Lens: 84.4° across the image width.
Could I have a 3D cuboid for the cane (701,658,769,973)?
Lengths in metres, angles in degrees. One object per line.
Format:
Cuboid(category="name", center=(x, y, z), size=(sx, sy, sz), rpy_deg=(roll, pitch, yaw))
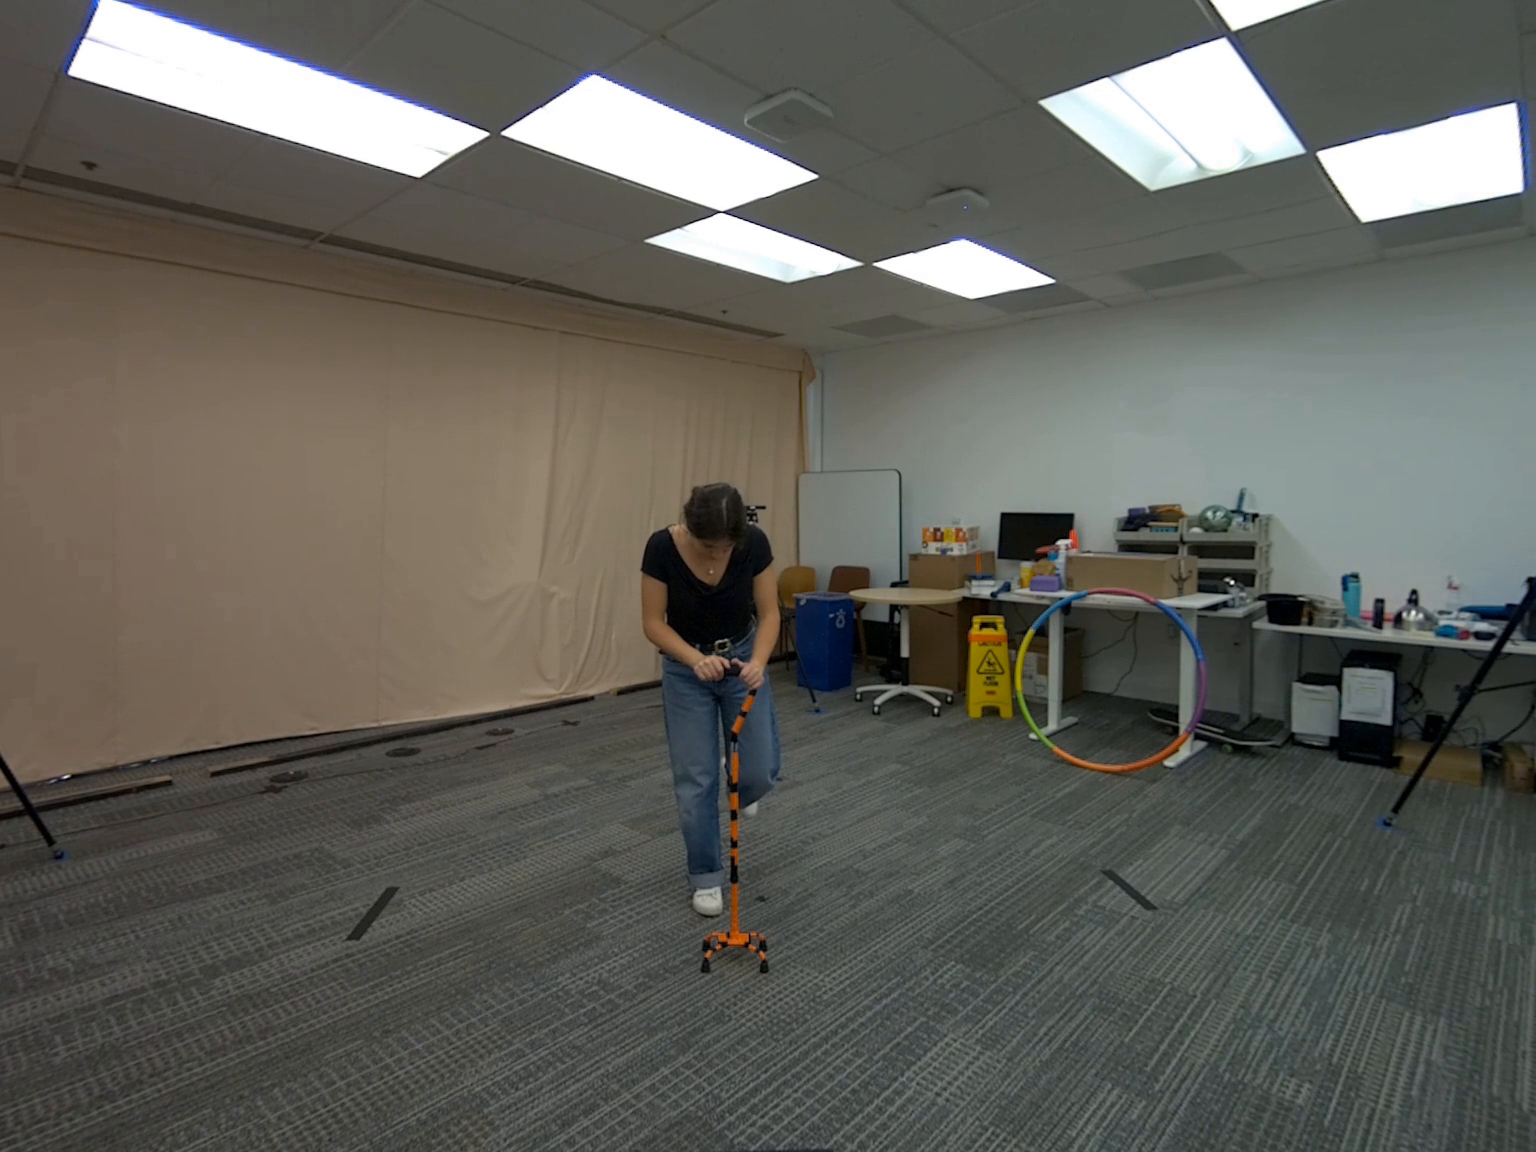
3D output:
Cuboid(category="cane", center=(-0.098, 0.719, 2.556), size=(0.206, 0.906, 0.152), rpy_deg=(0, 3, -1))
